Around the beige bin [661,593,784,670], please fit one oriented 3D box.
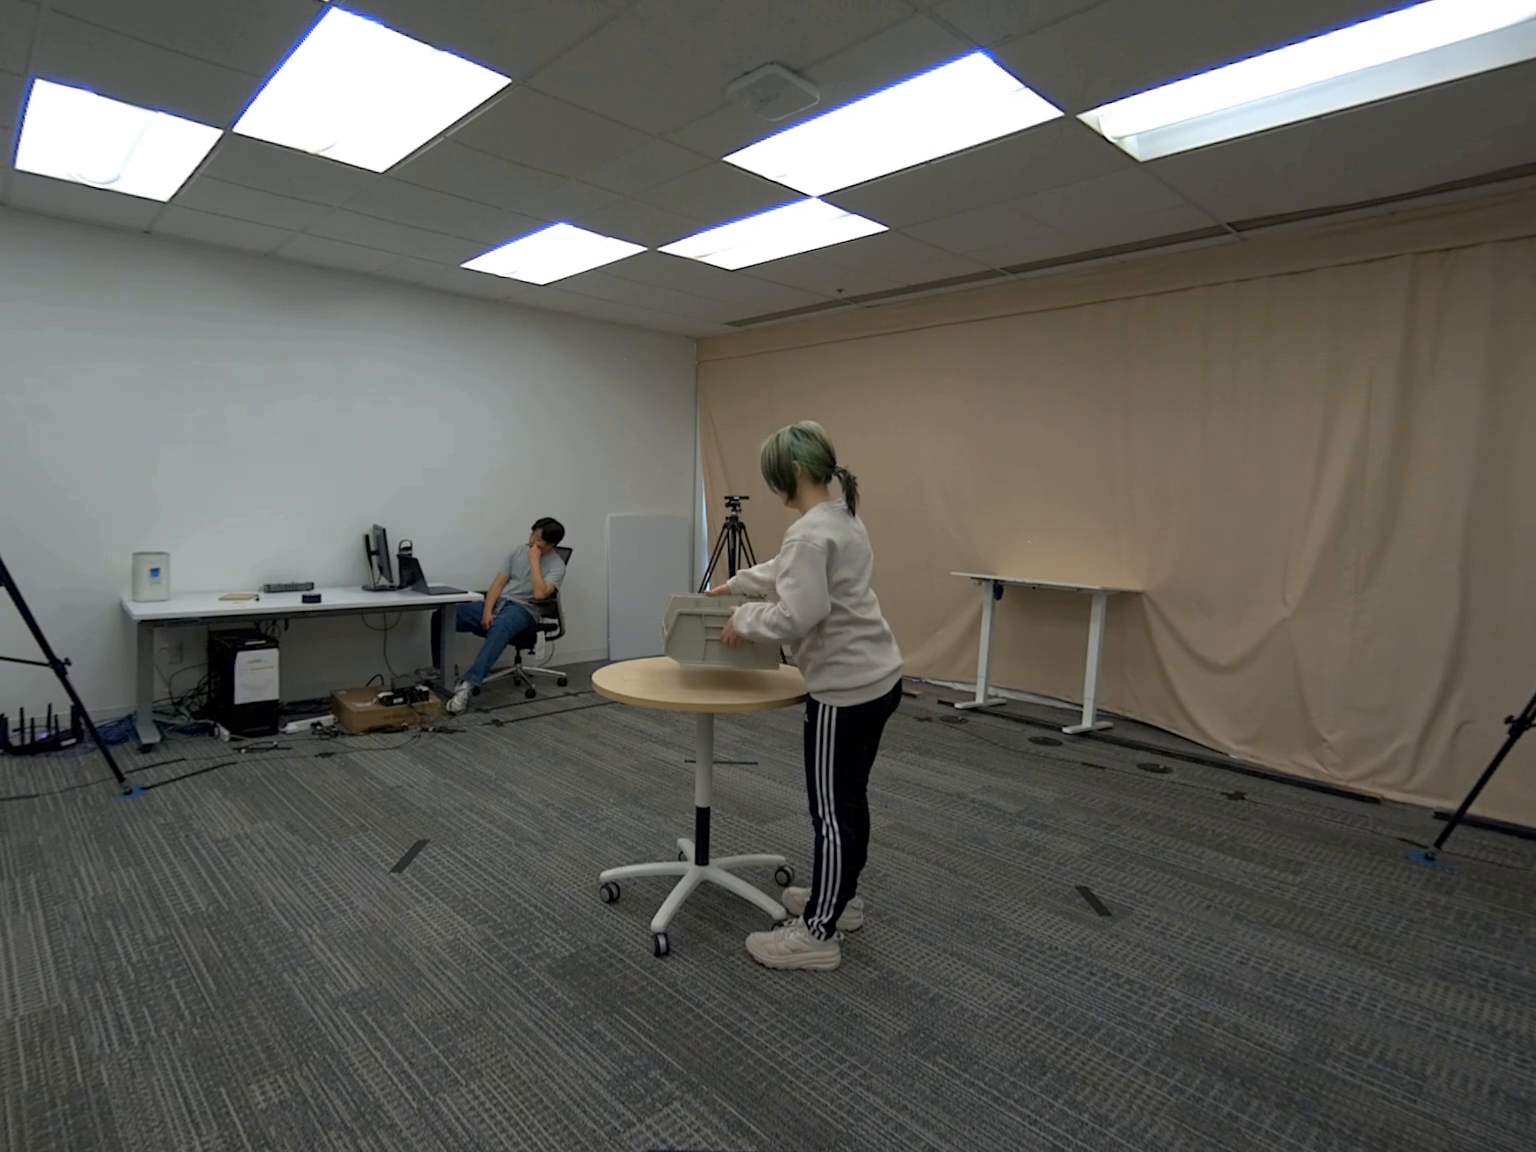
[{"bbox_3d":[-0.183,0.184,2.814,0.376,0.188,0.425,4,6,-5],"label":"beige bin"}]
